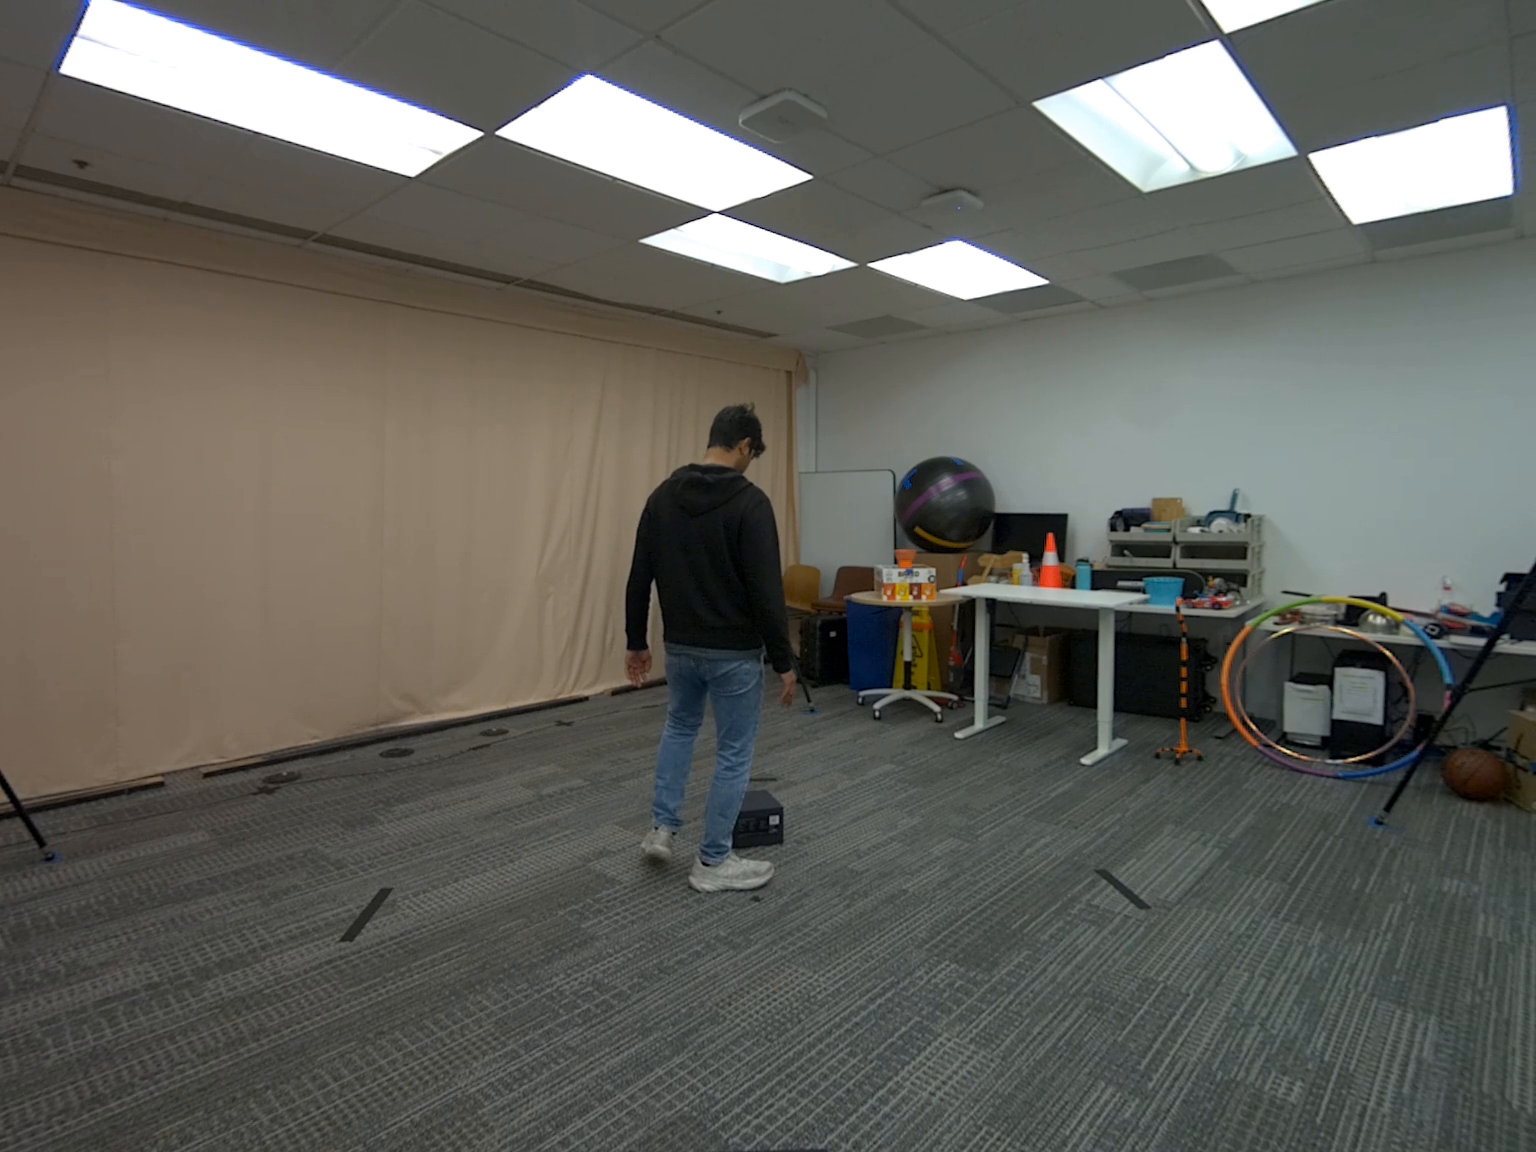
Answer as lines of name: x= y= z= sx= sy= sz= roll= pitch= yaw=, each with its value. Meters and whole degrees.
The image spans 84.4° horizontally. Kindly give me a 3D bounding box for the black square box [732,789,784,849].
black square box: x=-0.069 y=1.012 z=3.536 sx=0.213 sy=0.155 sz=0.232 roll=-2 pitch=4 yaw=-17
